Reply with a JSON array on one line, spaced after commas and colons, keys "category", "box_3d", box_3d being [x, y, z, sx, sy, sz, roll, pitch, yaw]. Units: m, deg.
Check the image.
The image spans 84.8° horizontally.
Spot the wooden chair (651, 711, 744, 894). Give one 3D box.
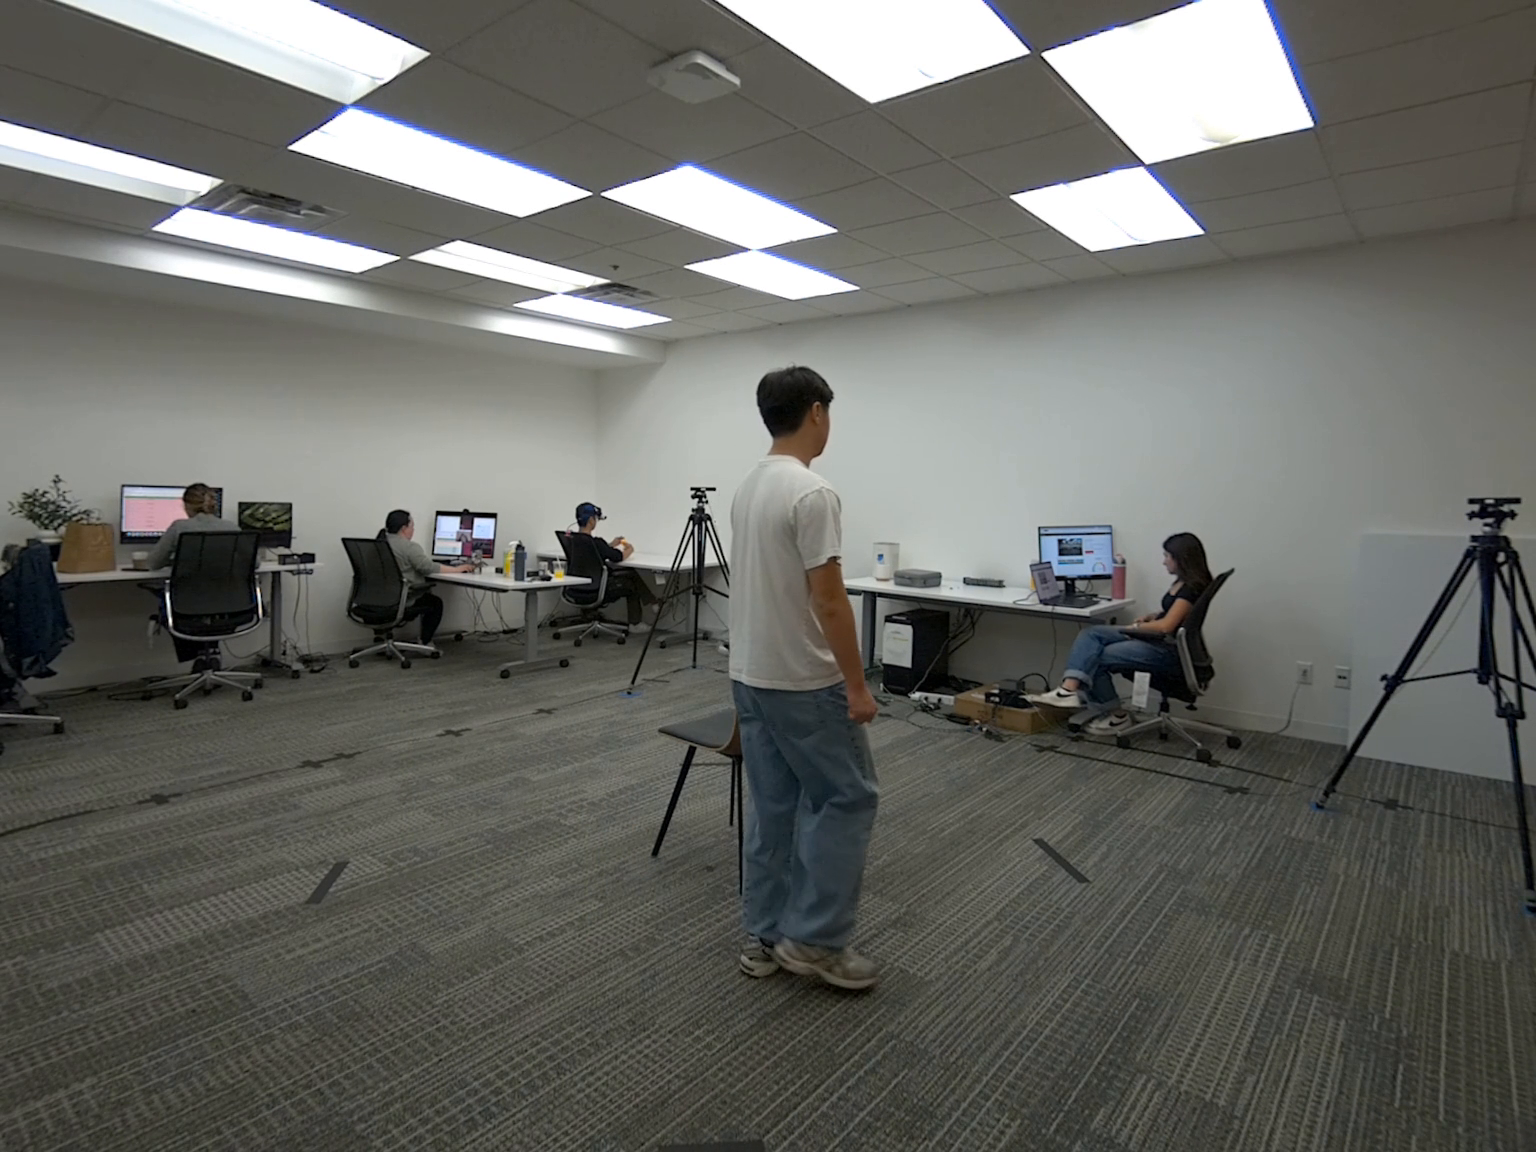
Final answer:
[{"category": "wooden chair", "box_3d": [-0.128, 0.632, 3.192, 0.542, 0.873, 0.463, 10, 8, 40]}]
